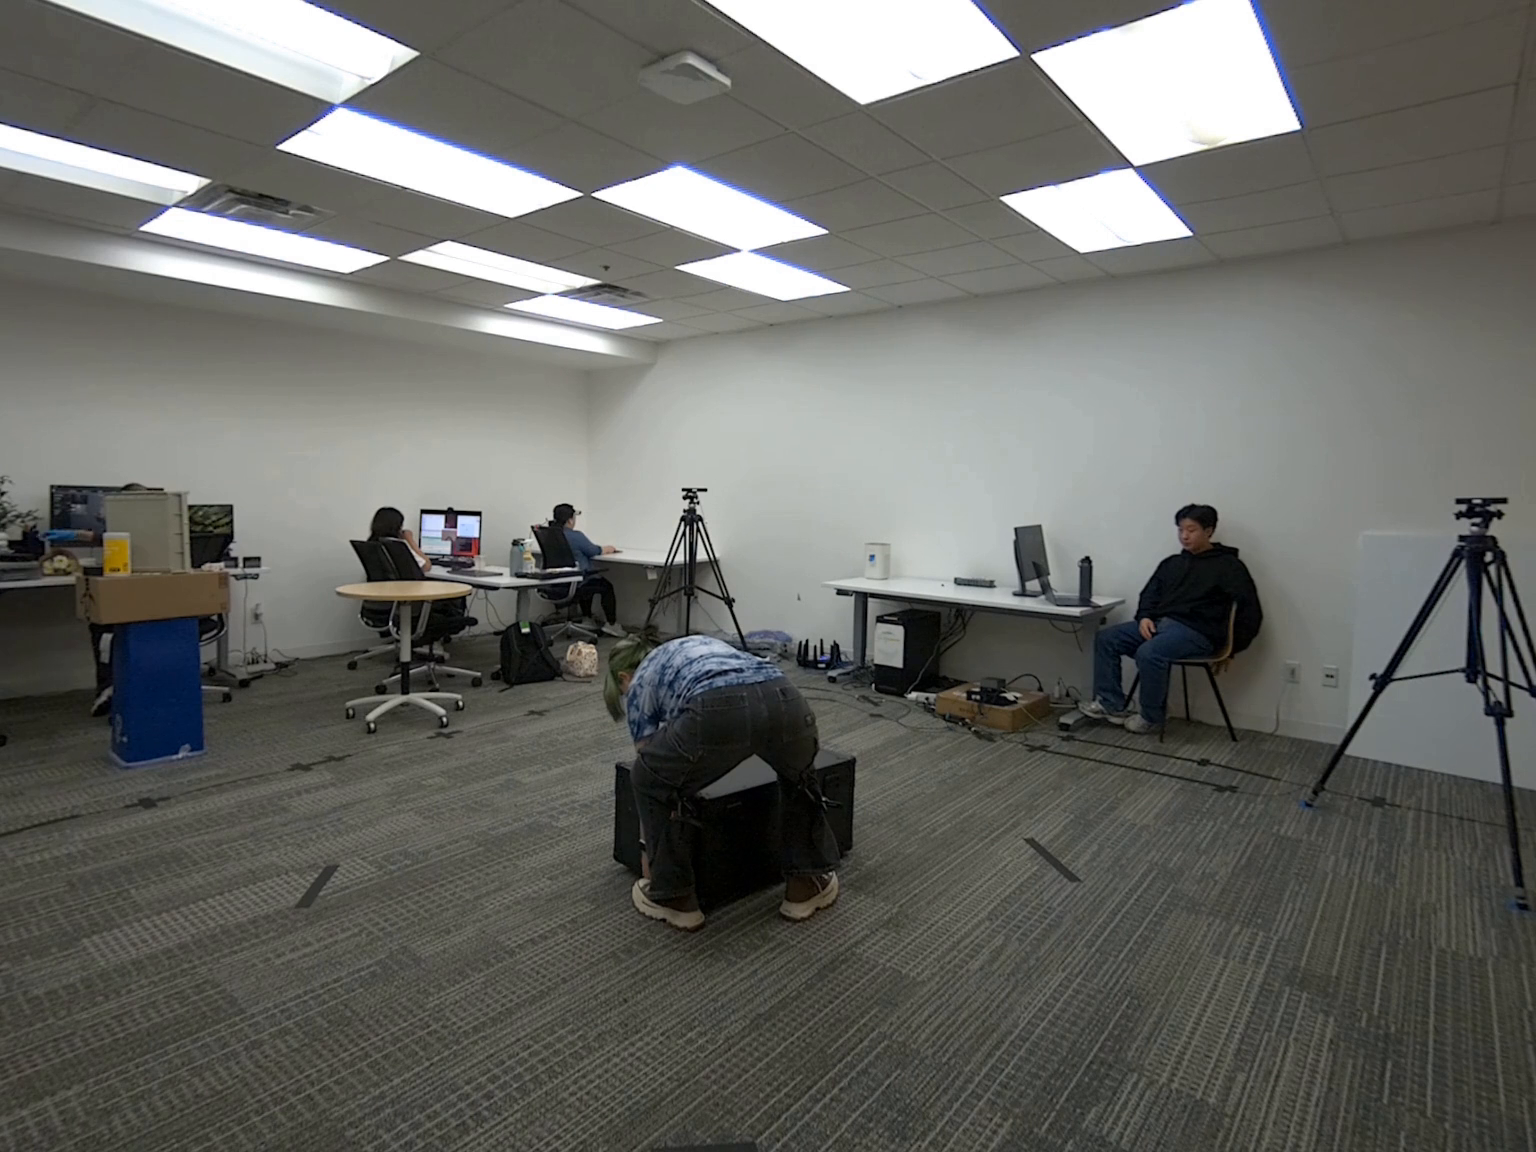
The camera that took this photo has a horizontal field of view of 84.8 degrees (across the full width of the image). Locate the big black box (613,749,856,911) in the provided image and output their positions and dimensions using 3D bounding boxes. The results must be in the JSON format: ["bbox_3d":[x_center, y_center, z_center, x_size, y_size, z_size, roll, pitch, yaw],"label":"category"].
[{"bbox_3d":[-0.100,0.873,3.194,0.836,0.395,0.539,-4,7,-43],"label":"big black box"}]
